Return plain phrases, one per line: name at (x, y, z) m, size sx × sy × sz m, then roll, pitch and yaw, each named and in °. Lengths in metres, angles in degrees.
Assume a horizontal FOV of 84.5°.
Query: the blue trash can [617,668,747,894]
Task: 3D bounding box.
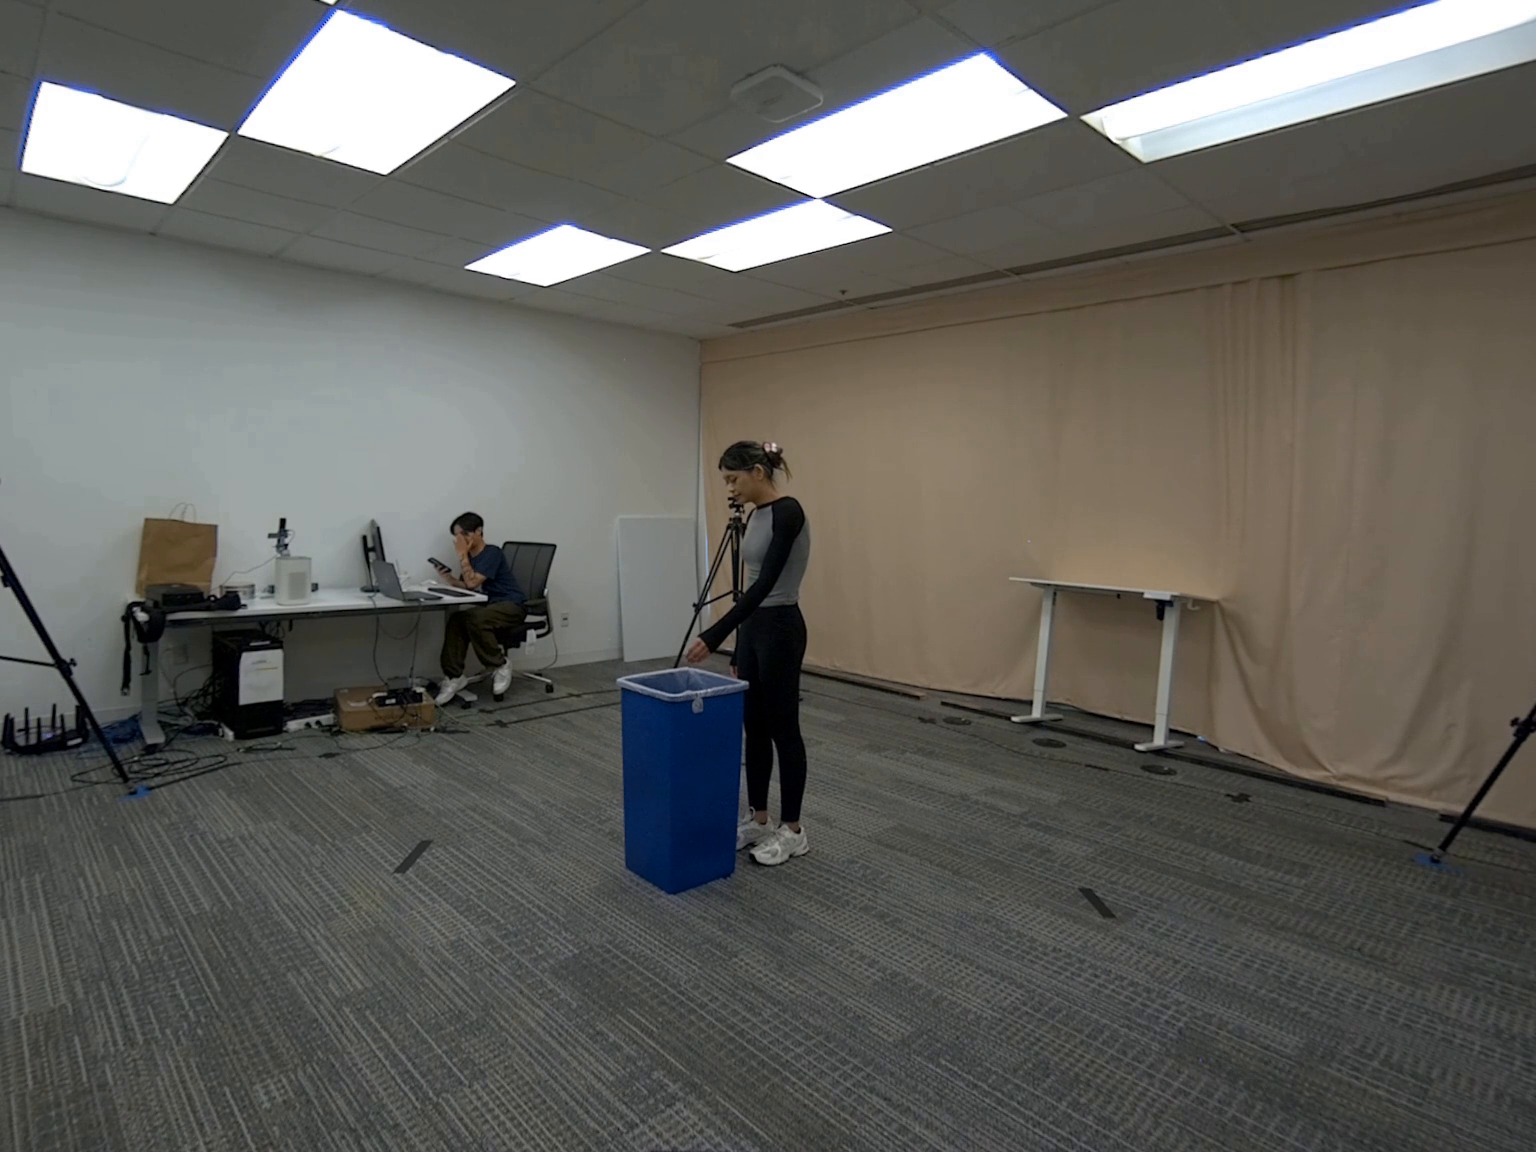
blue trash can at (-0.337, 0.744, 3.133) m, size 0.369 × 0.712 × 0.384 m, roll -1°, pitch 4°, yaw -42°
